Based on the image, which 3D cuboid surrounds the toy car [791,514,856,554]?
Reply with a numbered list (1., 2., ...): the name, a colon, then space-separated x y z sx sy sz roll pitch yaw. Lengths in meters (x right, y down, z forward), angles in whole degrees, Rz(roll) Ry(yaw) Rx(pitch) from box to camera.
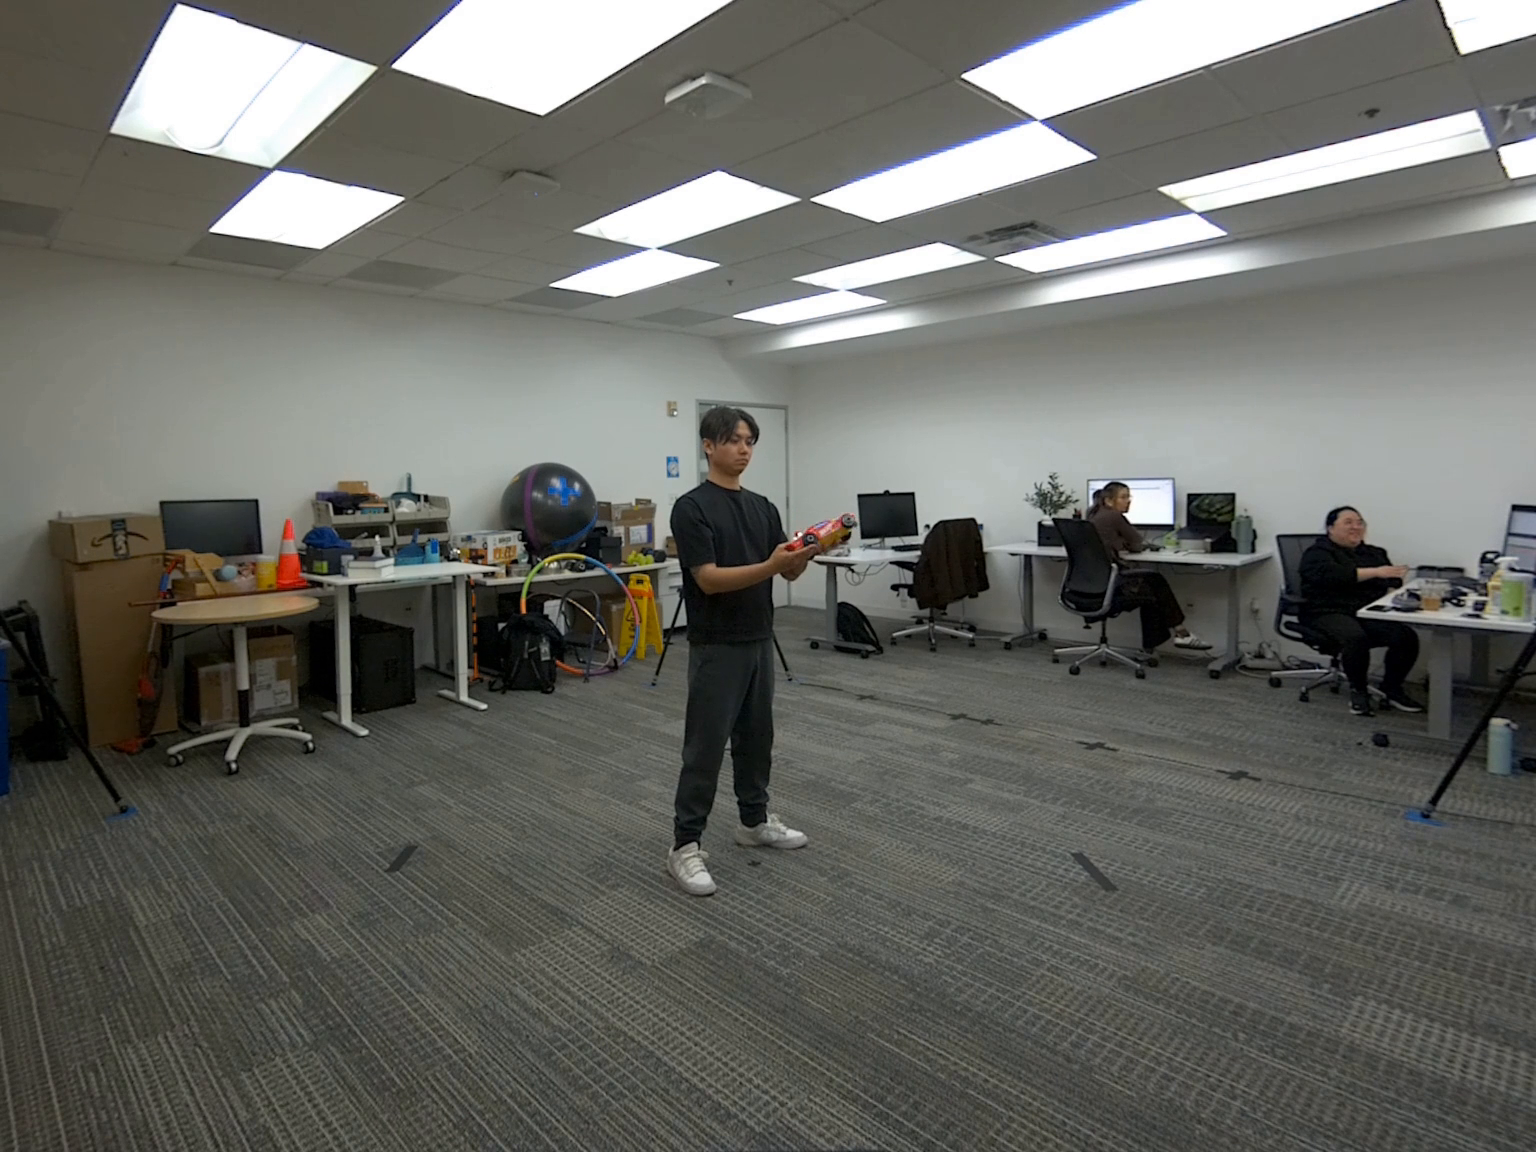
1. toy car: 0.176 -0.127 2.824 0.253 0.085 0.127 -18 -22 -7
